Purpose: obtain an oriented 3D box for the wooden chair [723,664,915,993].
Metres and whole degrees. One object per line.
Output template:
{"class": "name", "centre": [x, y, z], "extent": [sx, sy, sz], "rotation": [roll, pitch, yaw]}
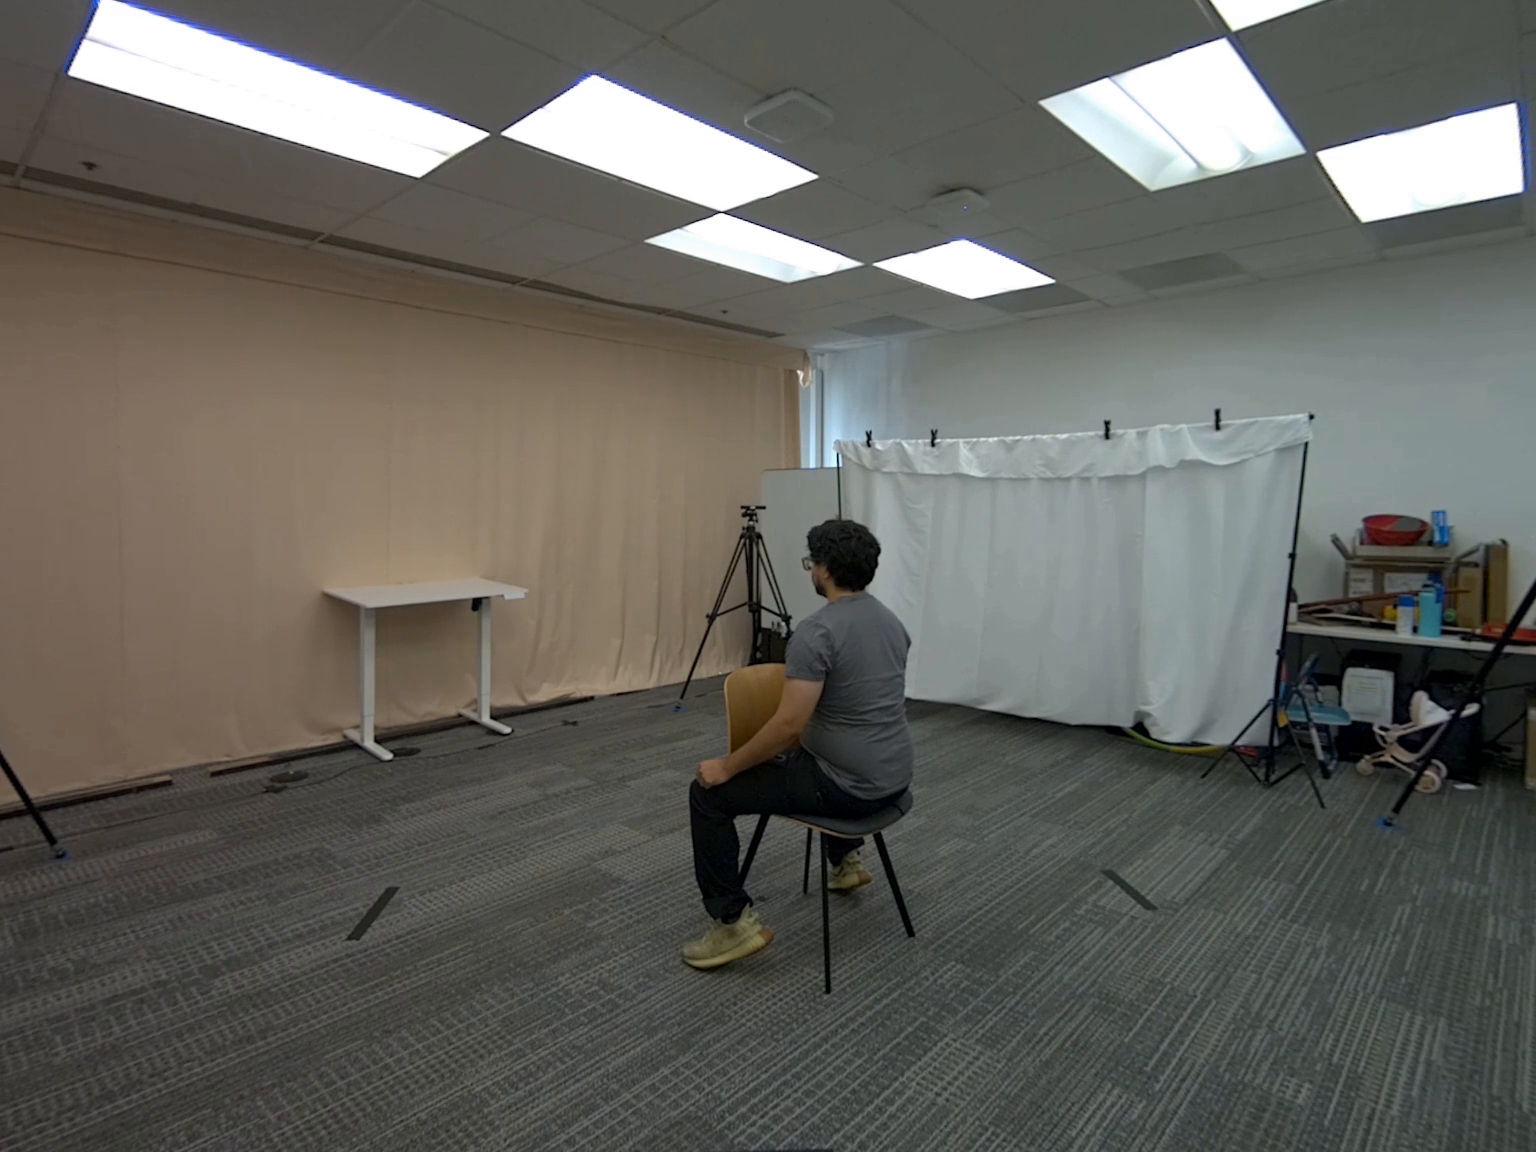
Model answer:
{"class": "wooden chair", "centre": [0.166, 0.747, 2.685], "extent": [0.539, 0.877, 0.463], "rotation": [-3, 0, 44]}
